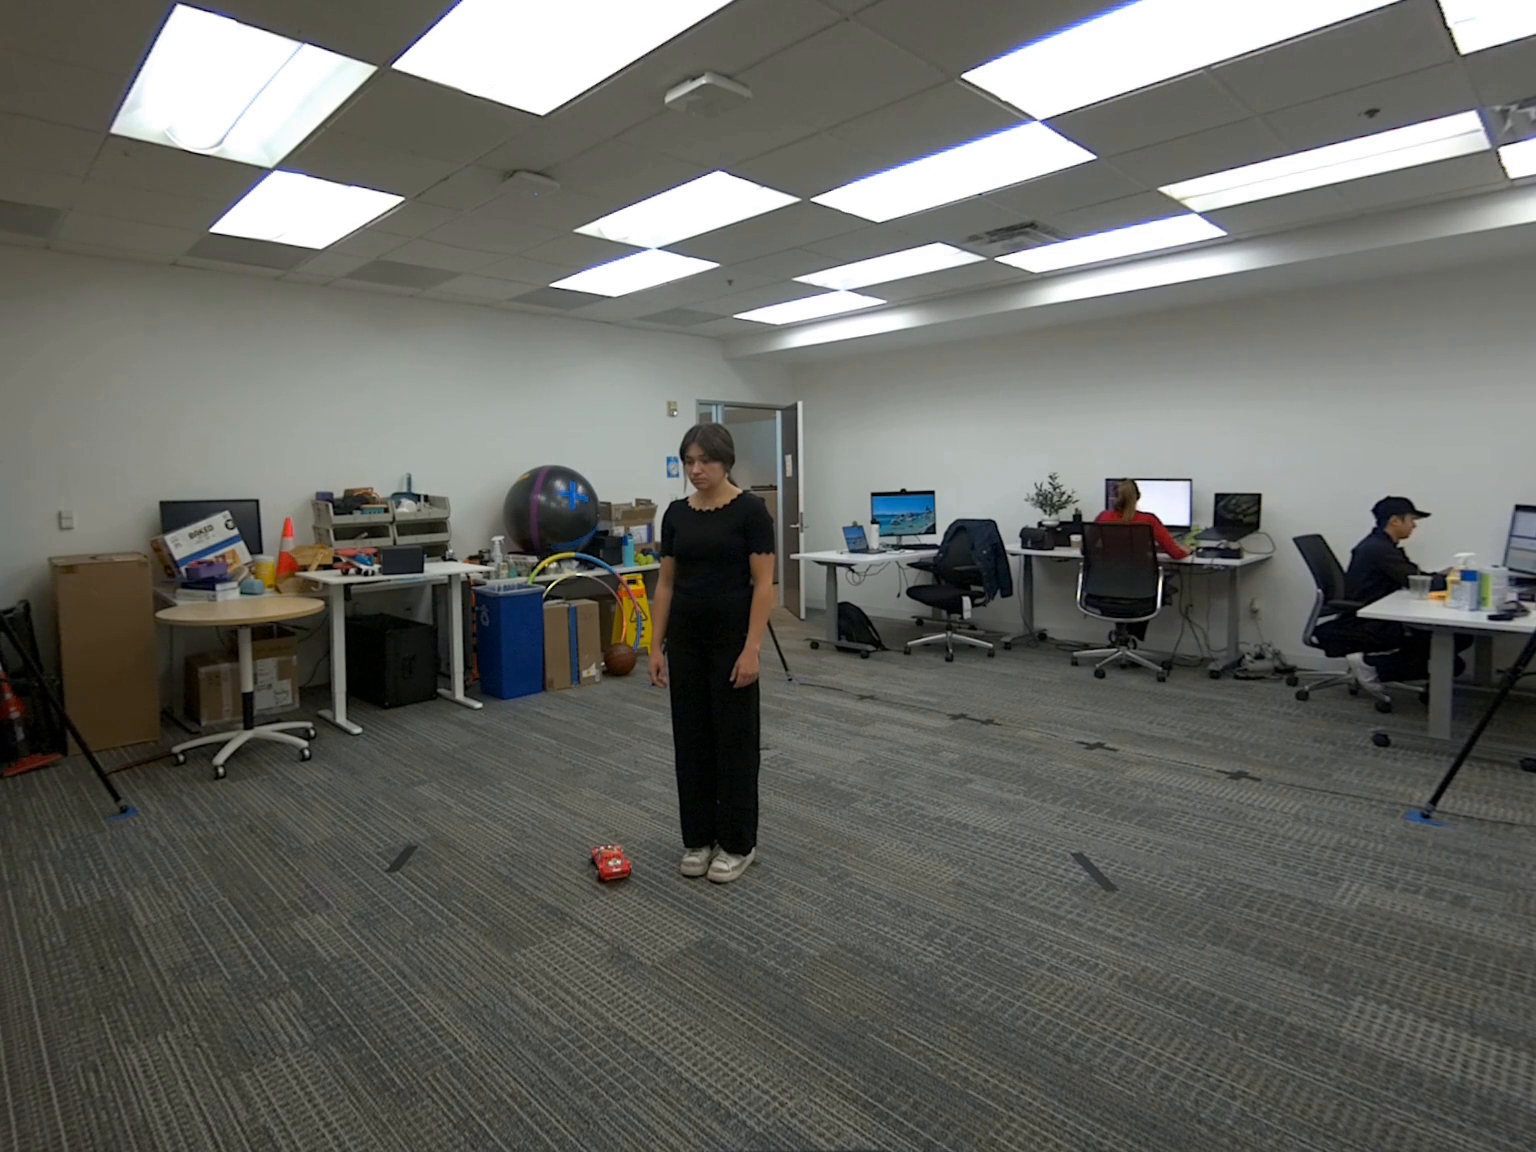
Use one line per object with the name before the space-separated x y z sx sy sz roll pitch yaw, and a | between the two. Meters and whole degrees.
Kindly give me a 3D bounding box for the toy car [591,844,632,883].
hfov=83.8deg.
toy car | -0.560 1.027 3.054 0.128 0.083 0.257 -3 -4 -20
